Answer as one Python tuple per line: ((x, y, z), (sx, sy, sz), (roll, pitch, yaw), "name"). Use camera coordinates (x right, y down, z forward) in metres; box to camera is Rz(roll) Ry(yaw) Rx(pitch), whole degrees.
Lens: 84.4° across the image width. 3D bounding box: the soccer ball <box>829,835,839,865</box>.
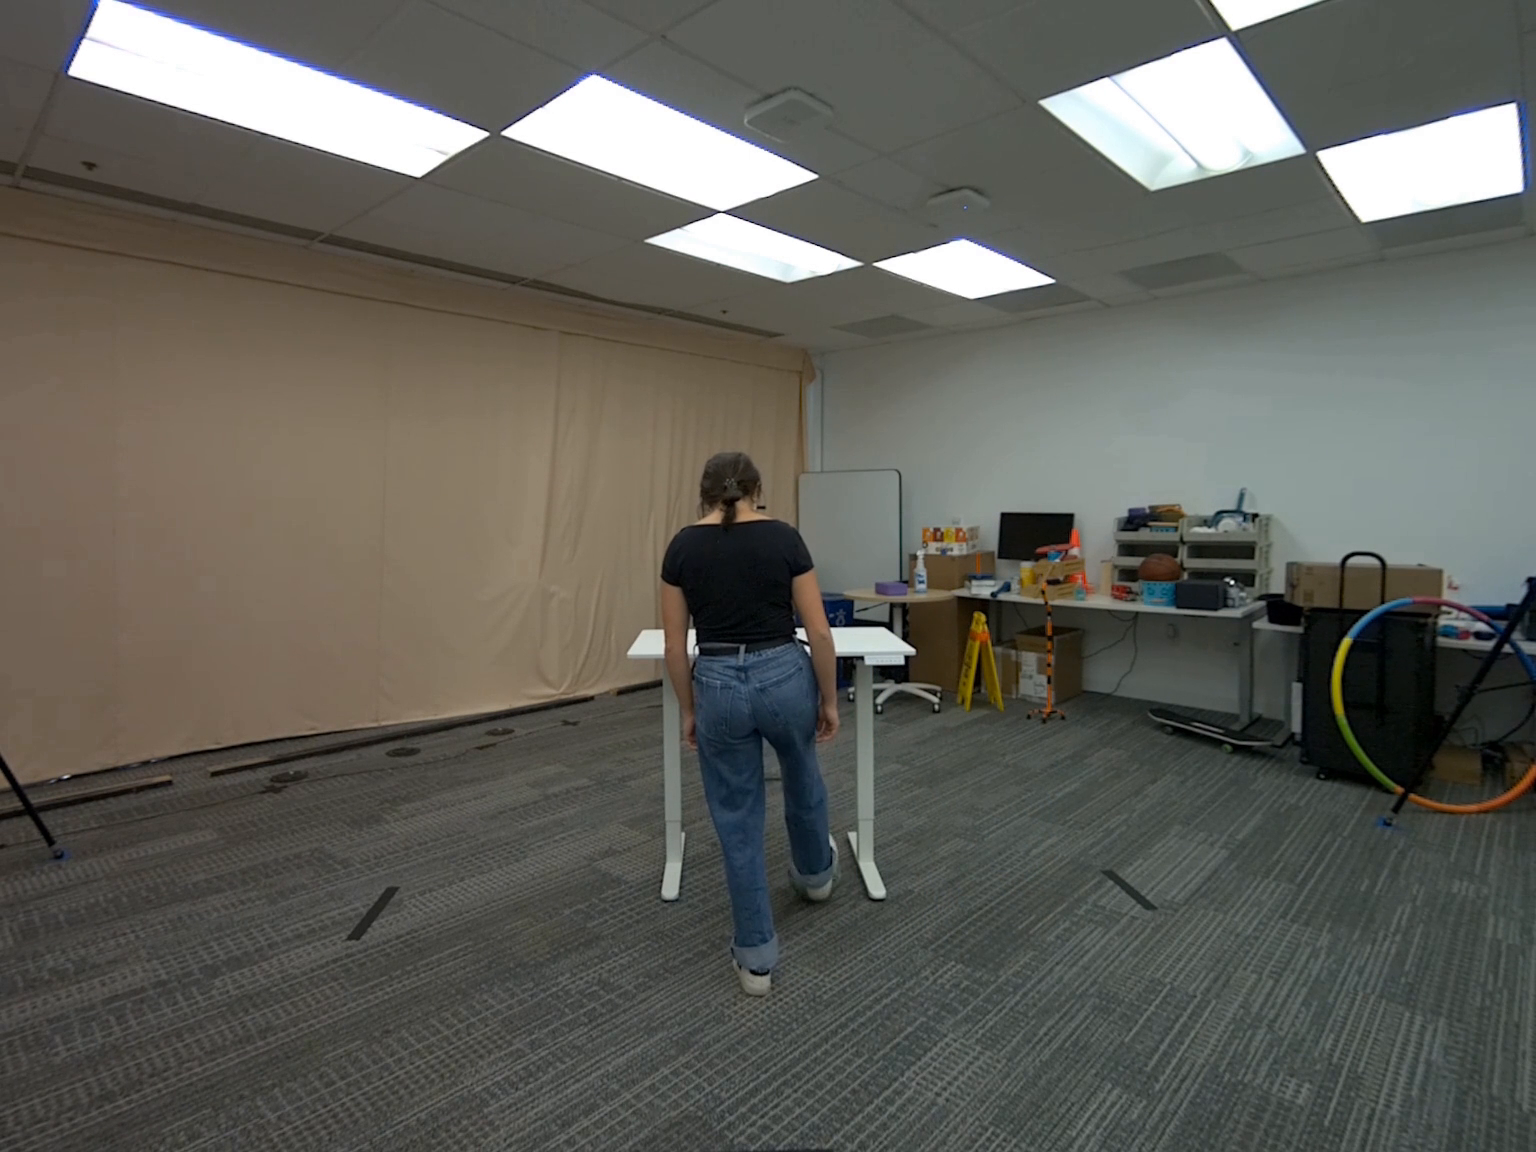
((0.178, 1.052, 2.979), (0.187, 0.187, 0.188), (0, 4, -2), "soccer ball")
